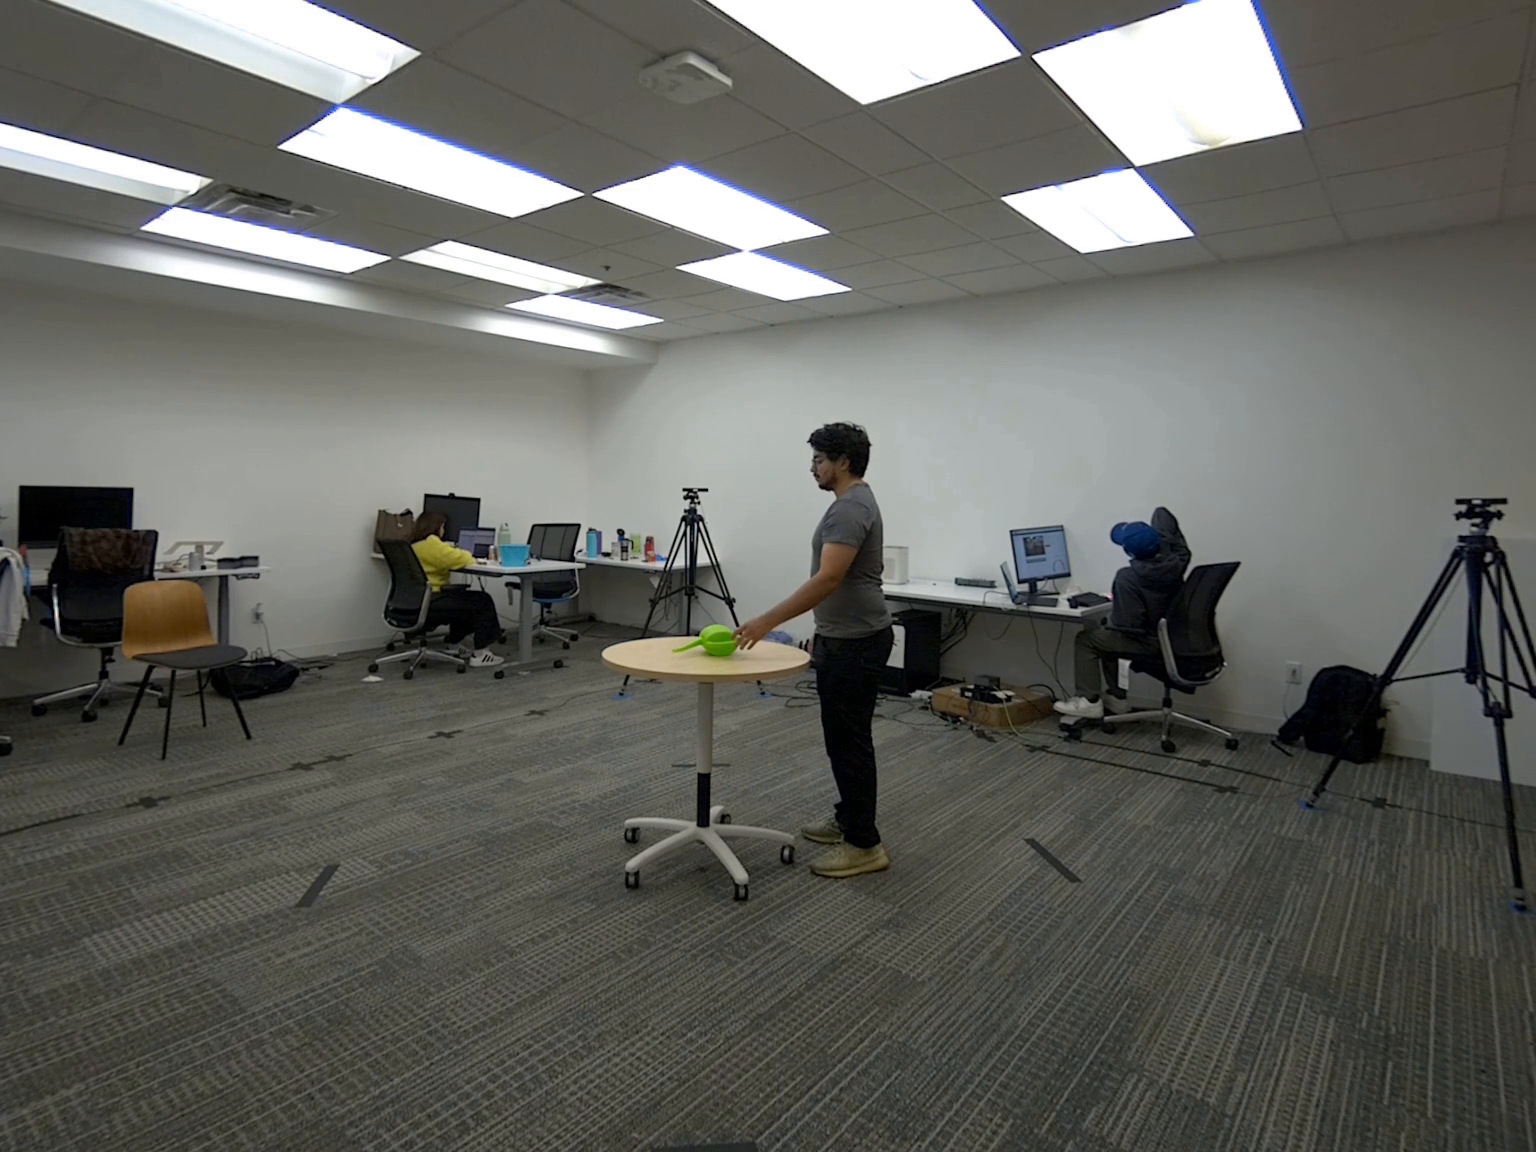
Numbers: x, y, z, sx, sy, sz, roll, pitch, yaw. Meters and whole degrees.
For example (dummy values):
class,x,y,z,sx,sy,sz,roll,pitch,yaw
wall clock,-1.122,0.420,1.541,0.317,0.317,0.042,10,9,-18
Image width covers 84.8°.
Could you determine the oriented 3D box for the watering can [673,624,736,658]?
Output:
class,x,y,z,sx,sy,sz,roll,pitch,yaw
watering can,-0.227,0.231,3.127,0.275,0.098,0.179,7,3,-11
